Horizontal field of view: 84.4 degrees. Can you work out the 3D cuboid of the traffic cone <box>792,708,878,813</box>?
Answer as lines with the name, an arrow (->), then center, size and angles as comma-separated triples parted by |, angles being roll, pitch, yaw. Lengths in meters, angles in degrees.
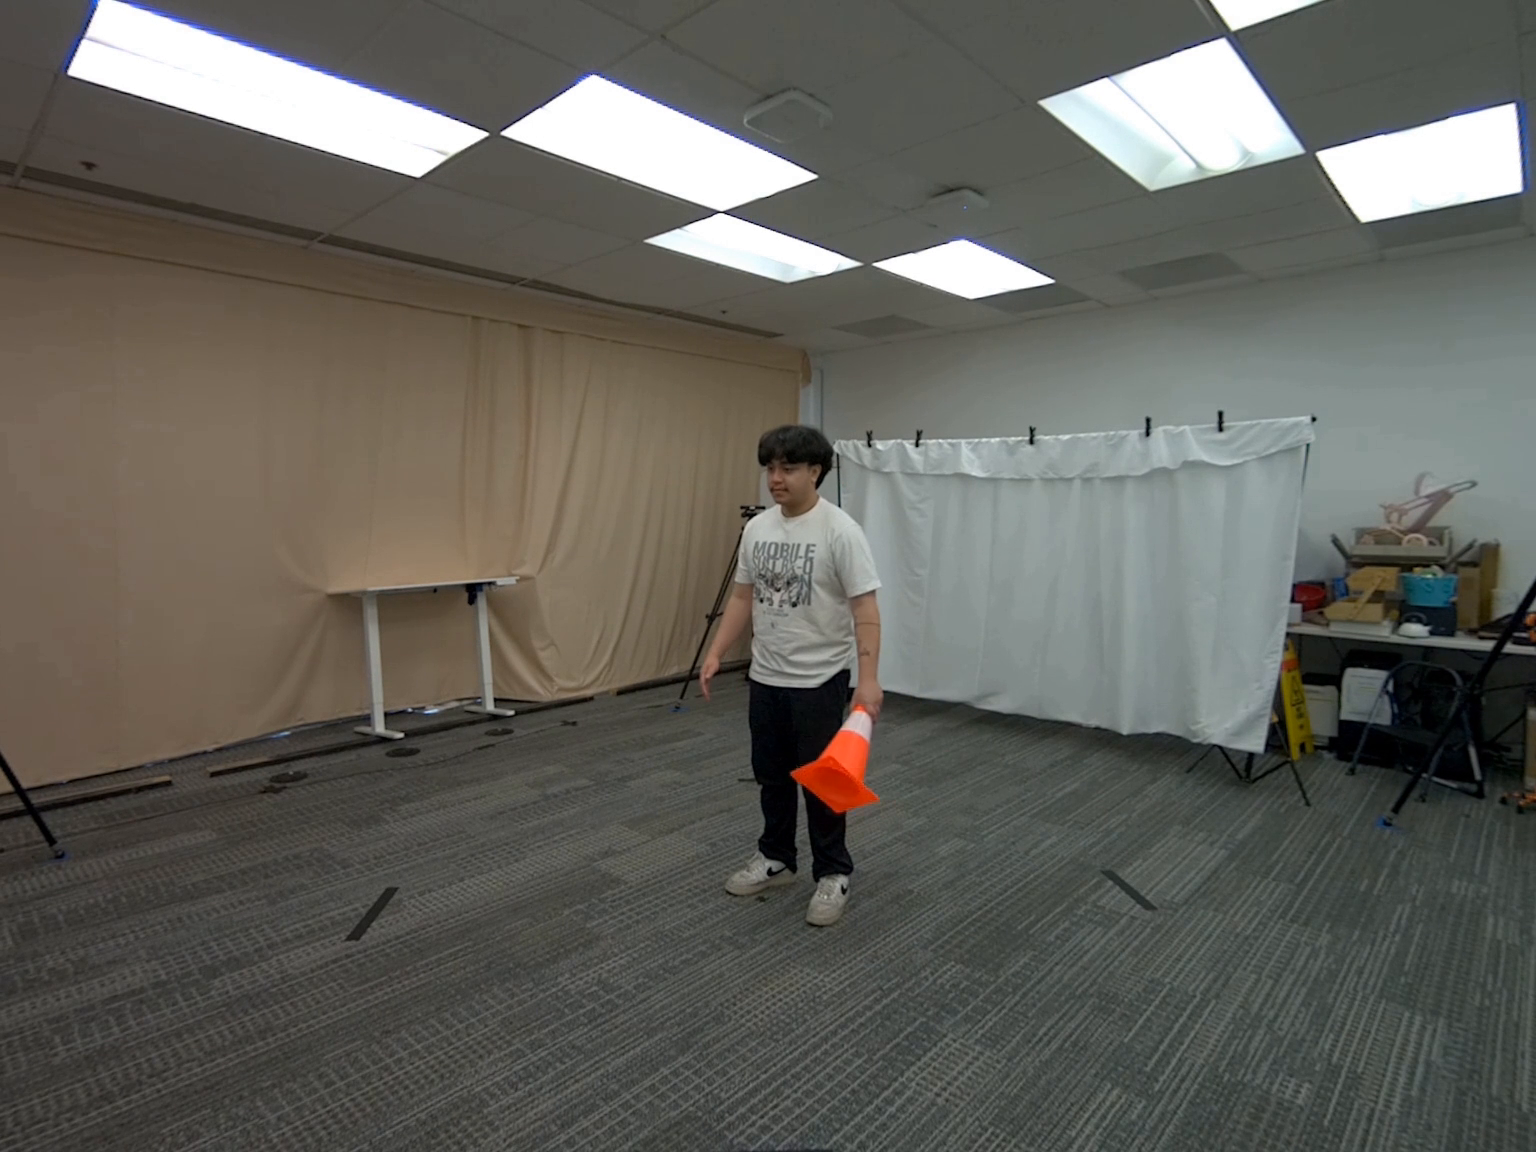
traffic cone -> 0.267, 0.481, 2.581 | 0.202, 0.383, 0.207 | 36, -41, -8
